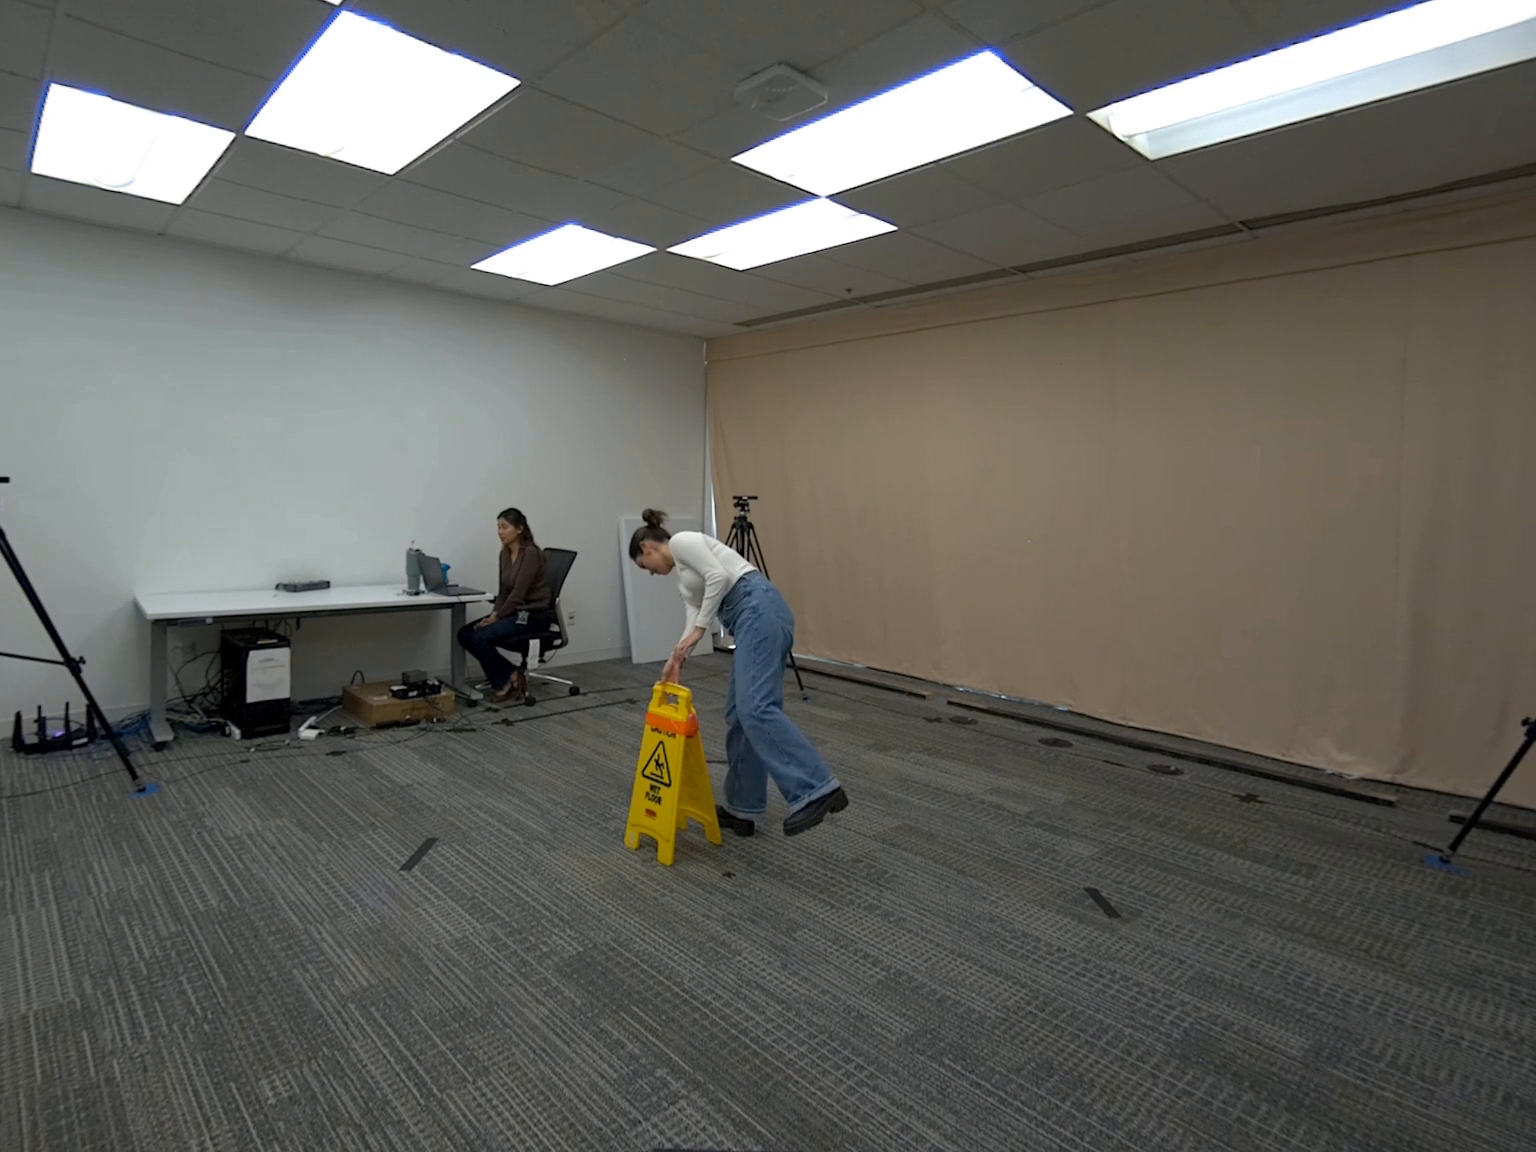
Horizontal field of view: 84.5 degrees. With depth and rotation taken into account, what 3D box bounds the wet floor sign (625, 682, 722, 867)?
[{"bbox_3d":[-0.383,0.749,3.335,0.289,0.644,0.283,5,6,43],"label":"wet floor sign"}]
